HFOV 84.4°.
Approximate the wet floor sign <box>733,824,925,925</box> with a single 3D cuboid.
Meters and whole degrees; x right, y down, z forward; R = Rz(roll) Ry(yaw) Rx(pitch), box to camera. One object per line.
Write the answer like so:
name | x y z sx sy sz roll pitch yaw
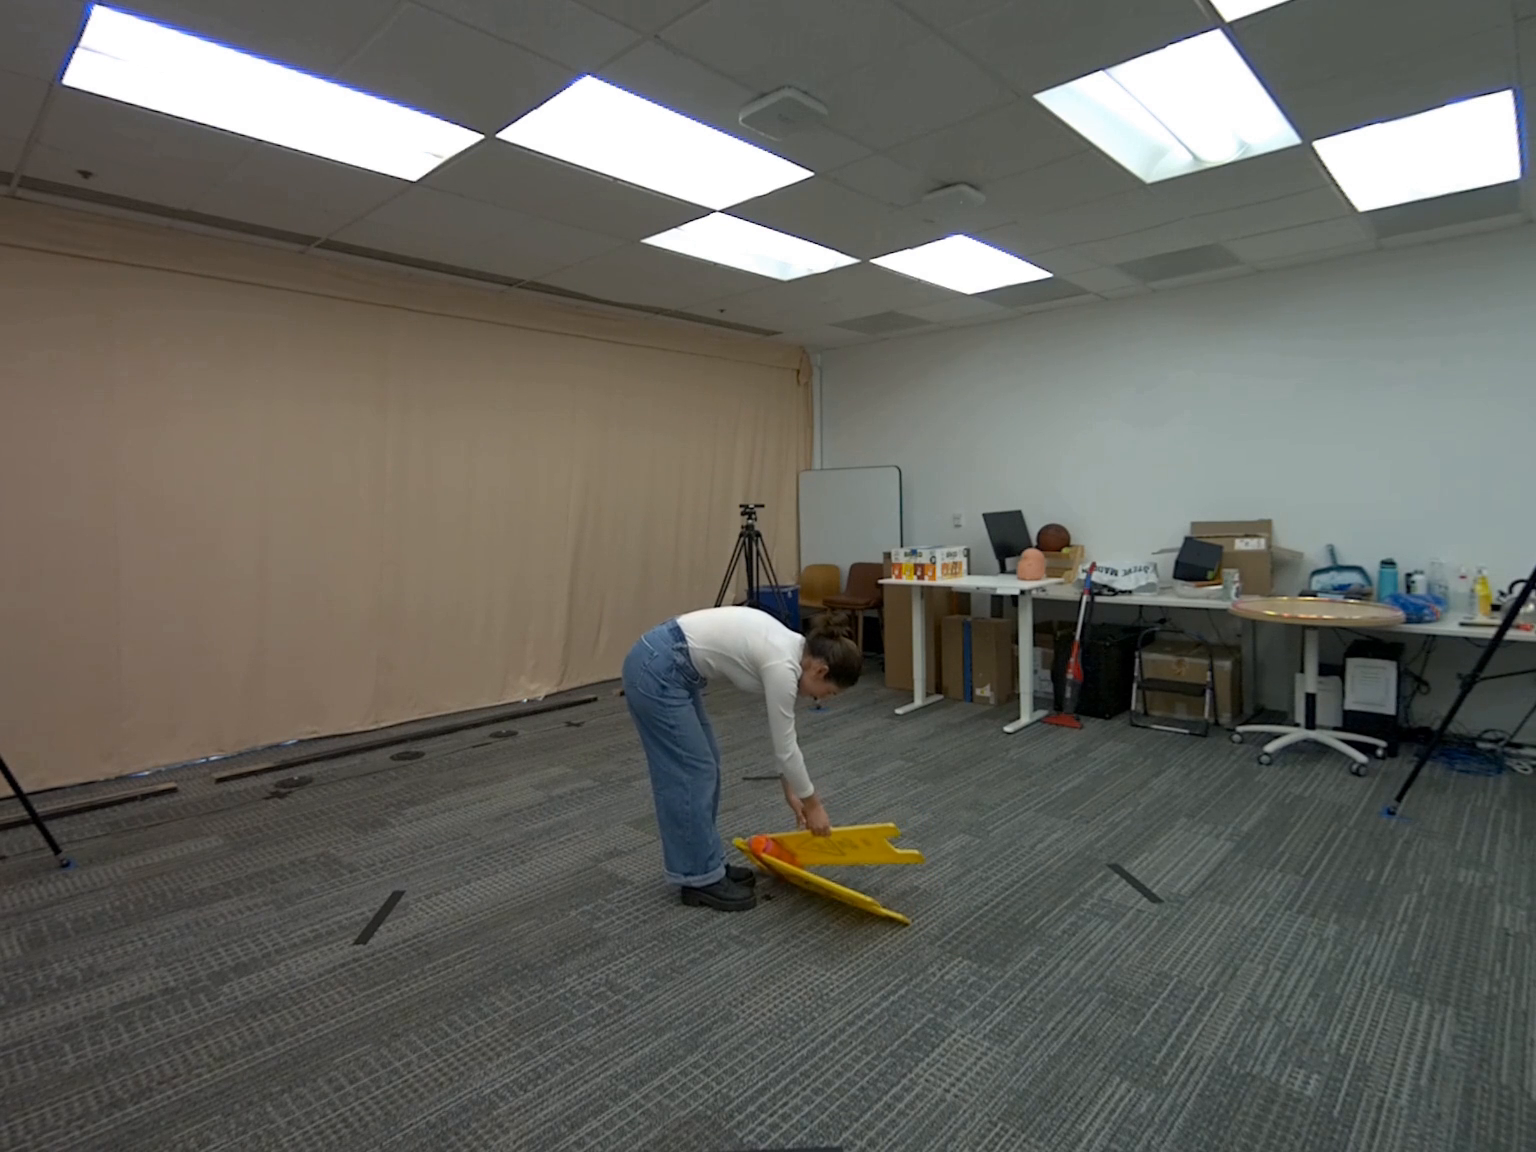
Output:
wet floor sign | 0.182 1.021 2.958 0.664 0.291 0.273 -7 -43 37
